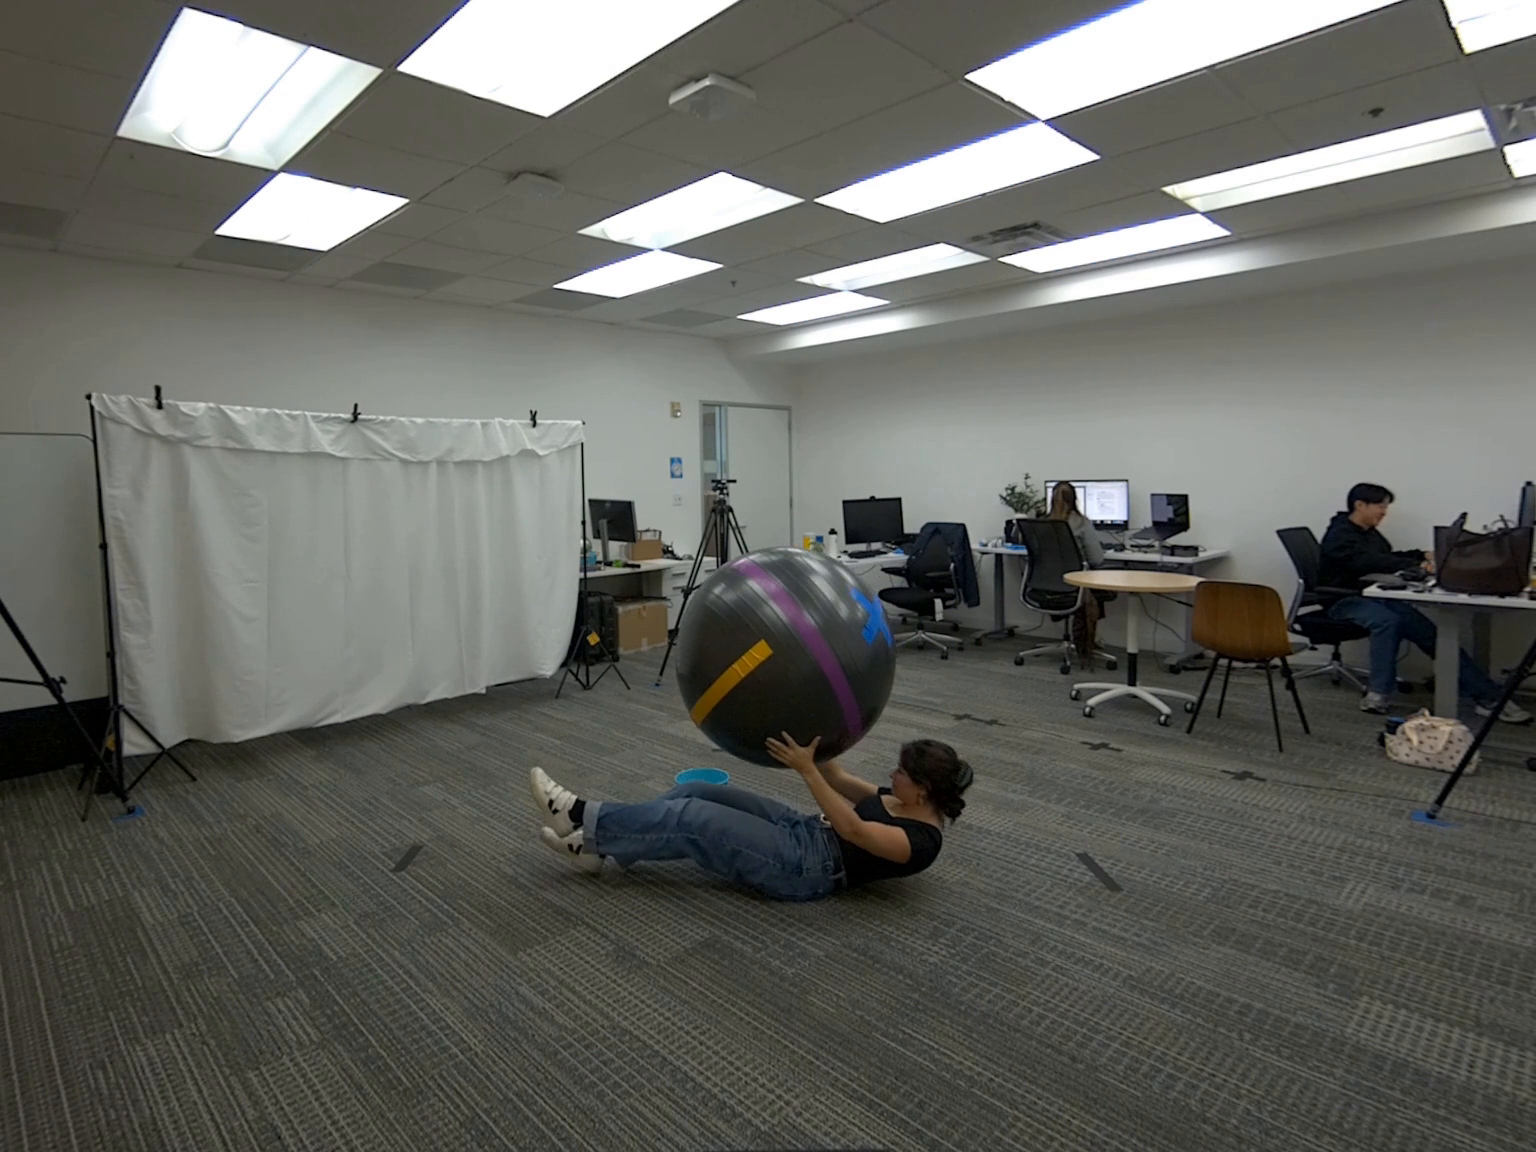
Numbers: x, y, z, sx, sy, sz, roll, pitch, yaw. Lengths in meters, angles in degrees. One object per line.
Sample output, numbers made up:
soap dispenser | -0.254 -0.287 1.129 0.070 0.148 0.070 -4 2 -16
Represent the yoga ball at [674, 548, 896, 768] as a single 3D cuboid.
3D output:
yoga ball | 0.052 0.276 2.963 0.757 0.755 0.762 -1 5 -2
